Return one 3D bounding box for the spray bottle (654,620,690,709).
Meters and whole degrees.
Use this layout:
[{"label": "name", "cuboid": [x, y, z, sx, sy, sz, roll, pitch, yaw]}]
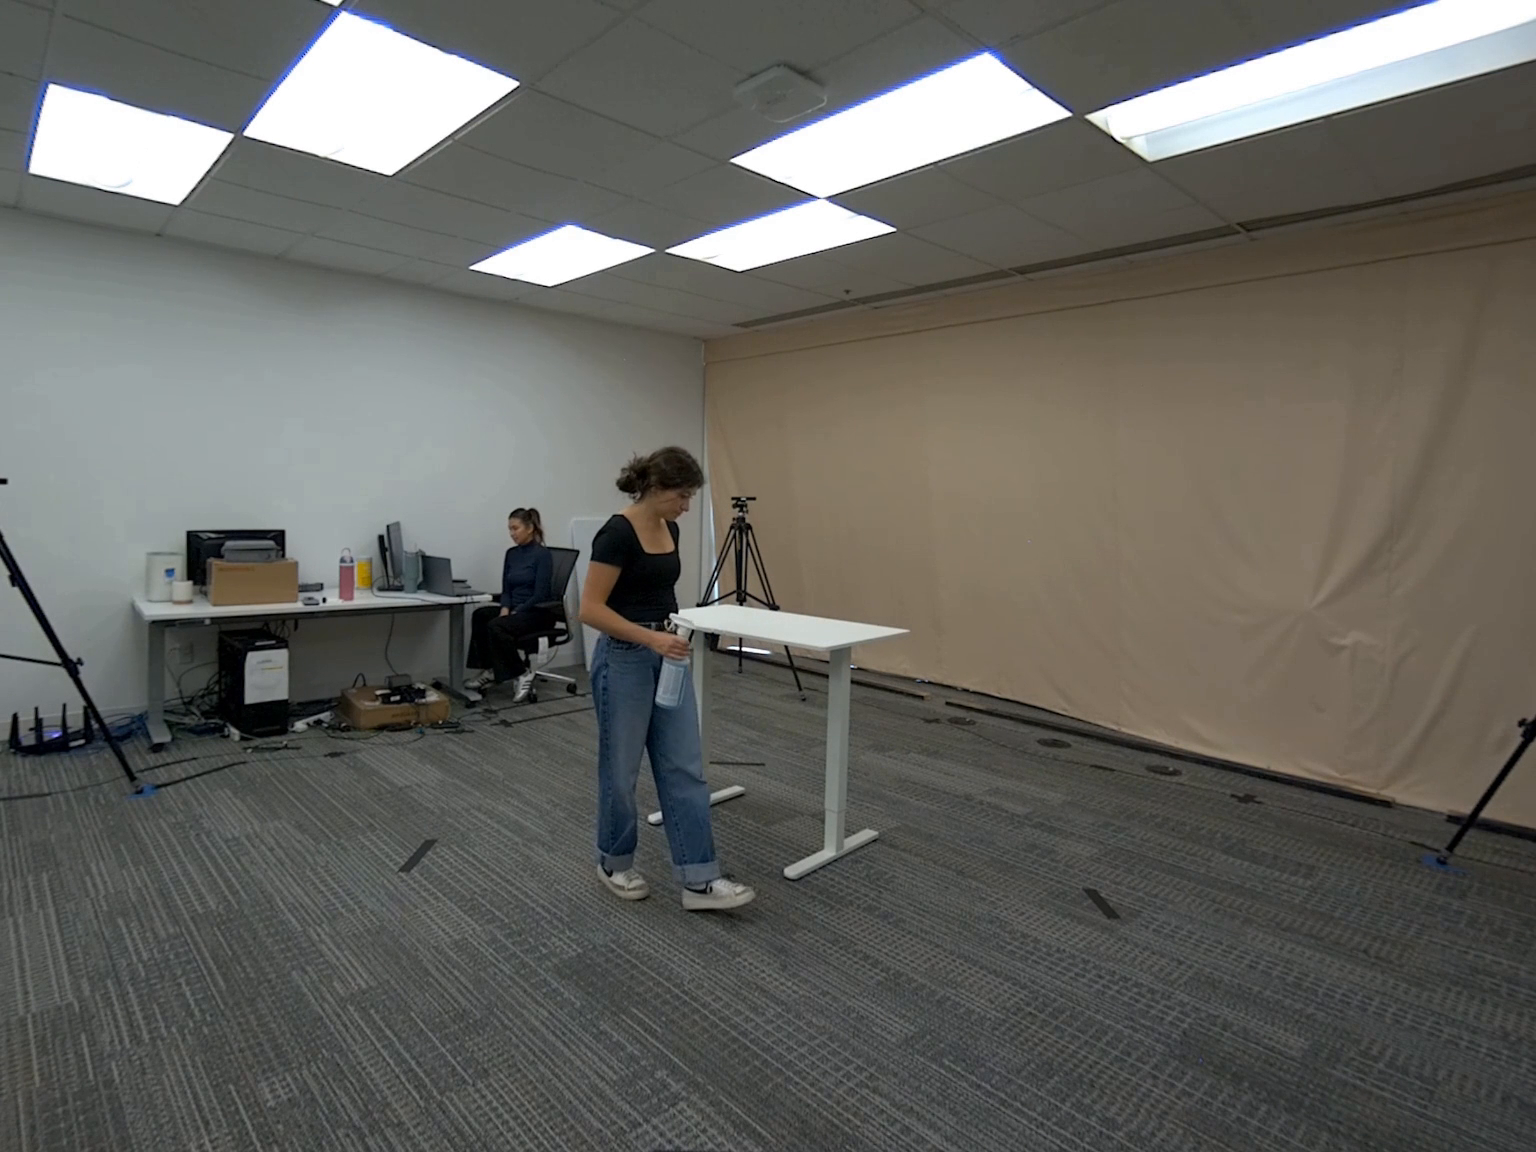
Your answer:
[{"label": "spray bottle", "cuboid": [-0.299, 0.272, 2.700, 0.092, 0.296, 0.085, 13, 8, 32]}]
